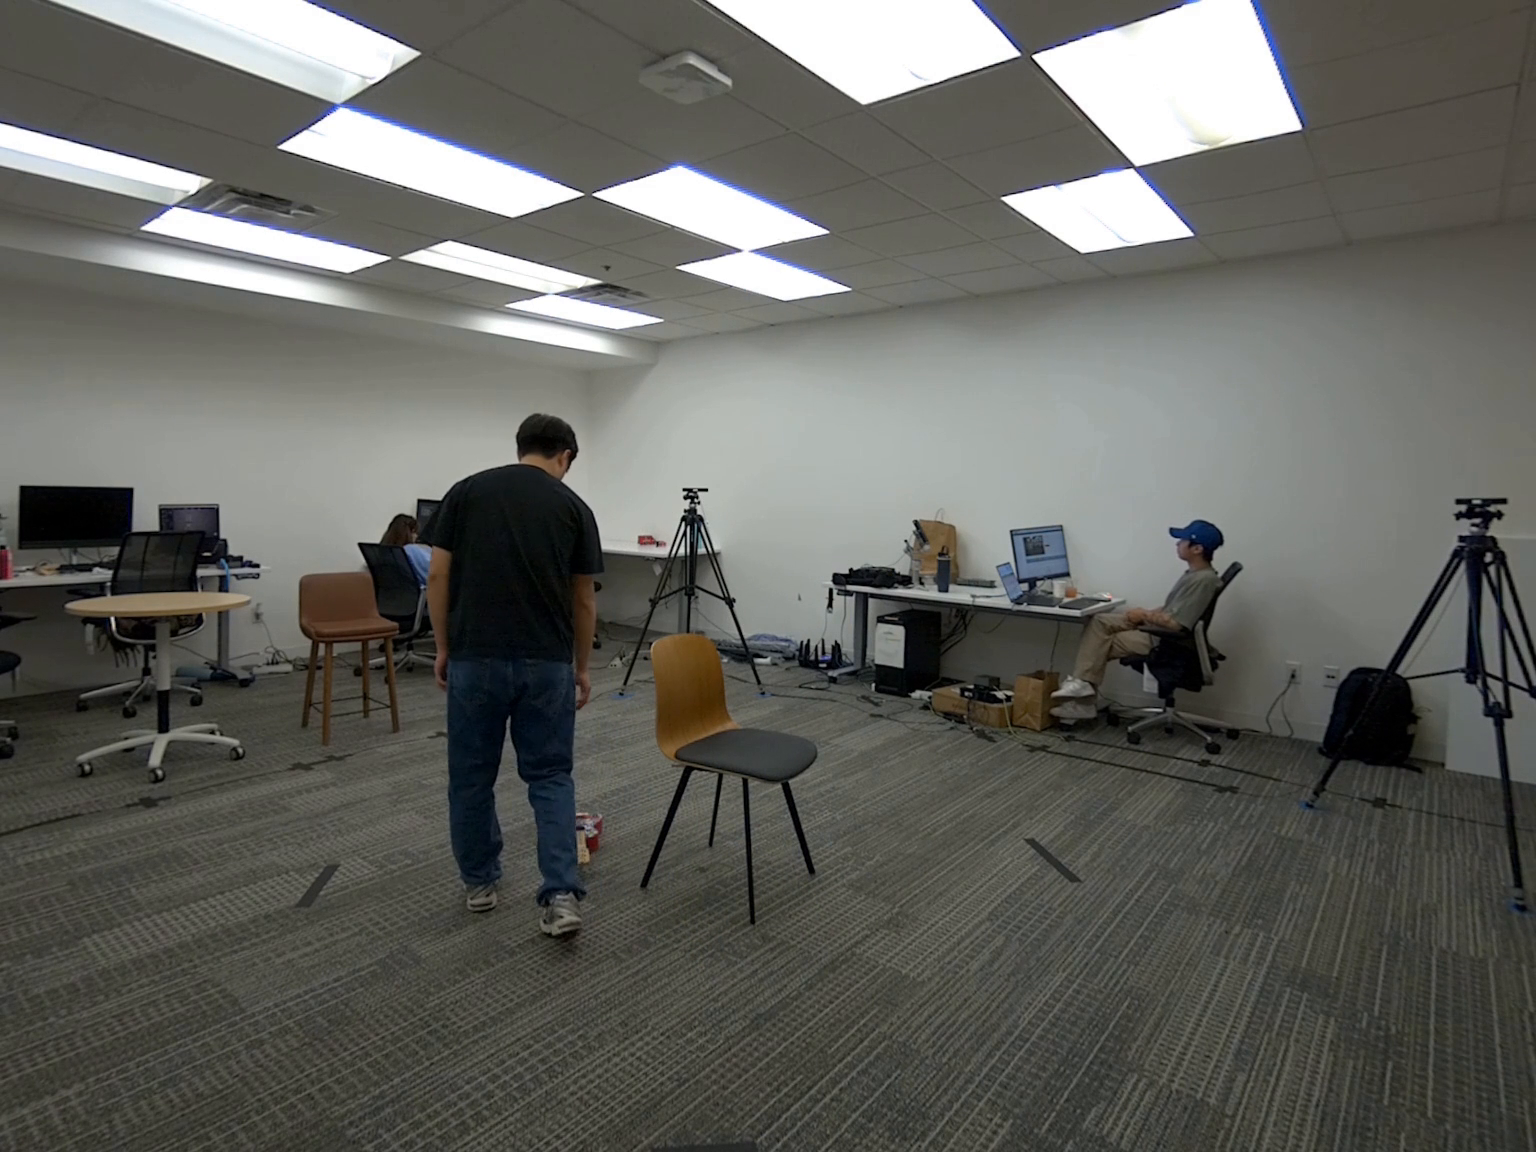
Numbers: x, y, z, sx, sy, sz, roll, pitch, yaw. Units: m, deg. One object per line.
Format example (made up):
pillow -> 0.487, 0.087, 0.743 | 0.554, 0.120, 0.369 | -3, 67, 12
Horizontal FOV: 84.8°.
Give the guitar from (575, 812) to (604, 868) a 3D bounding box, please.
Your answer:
guitar -> -0.756, 1.012, 3.239 | 0.192, 0.070, 0.501 | 1, 5, -5
